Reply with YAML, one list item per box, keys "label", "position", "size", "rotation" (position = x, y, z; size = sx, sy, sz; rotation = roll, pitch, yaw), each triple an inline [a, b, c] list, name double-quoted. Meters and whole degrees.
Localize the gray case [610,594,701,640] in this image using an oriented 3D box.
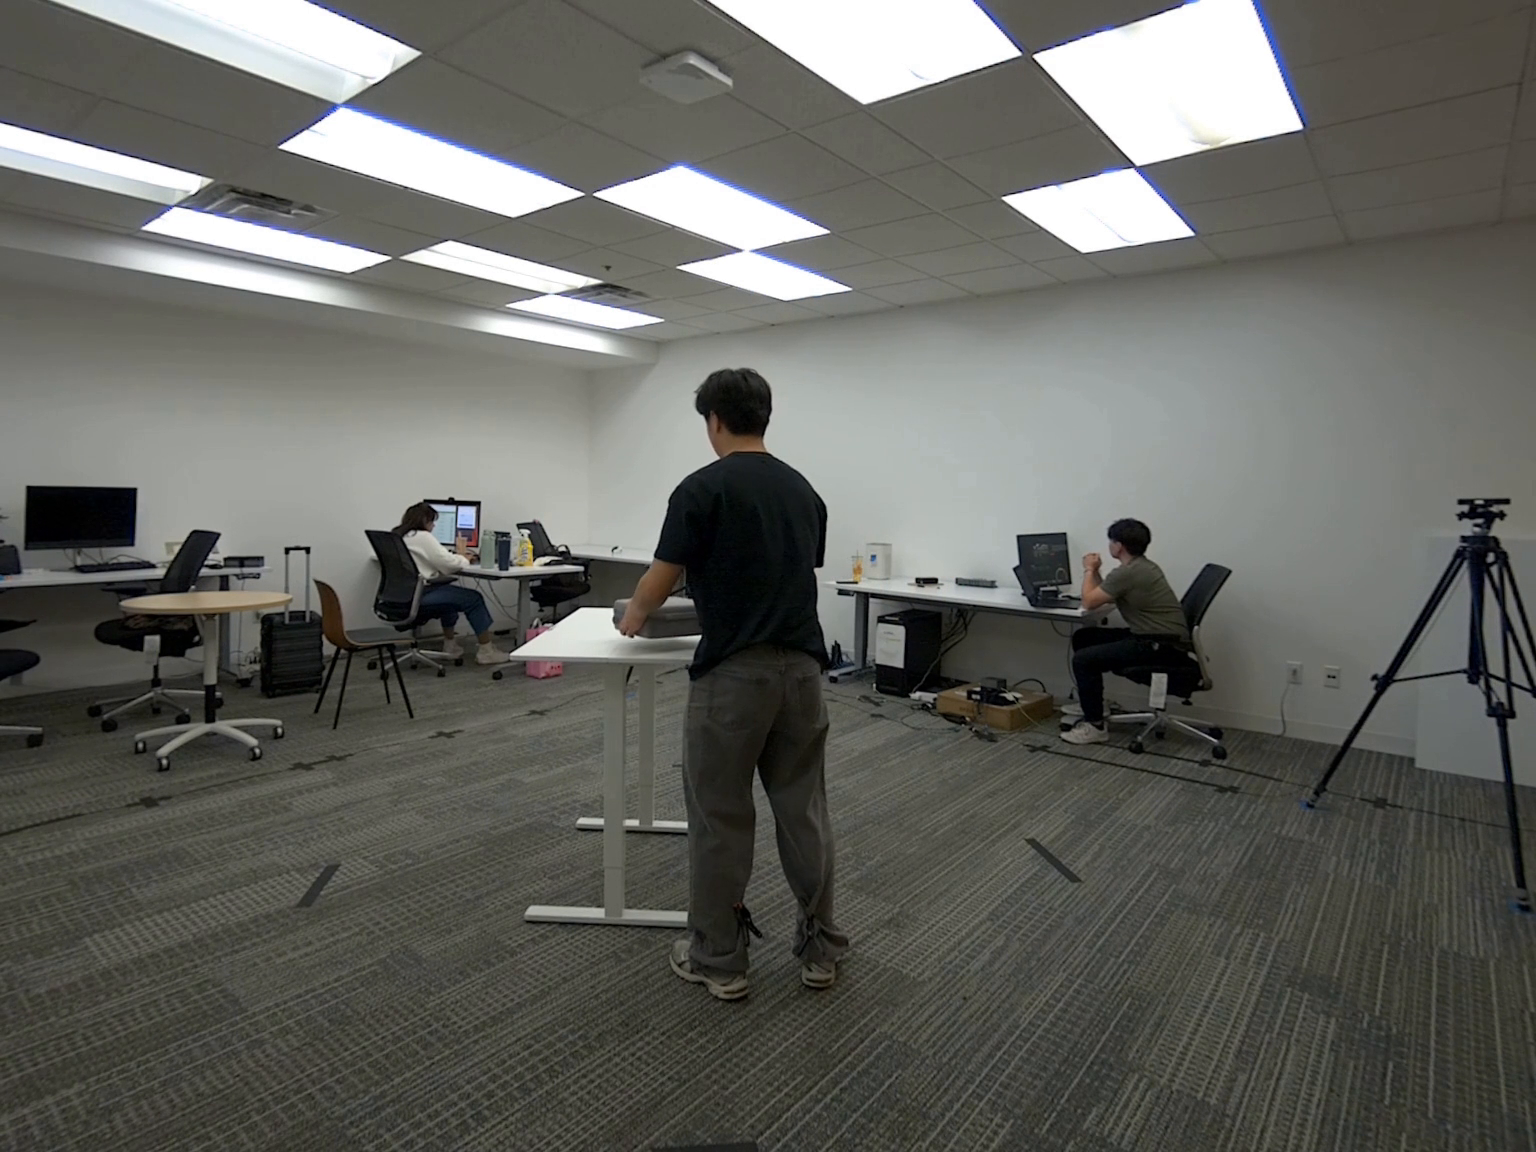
- label: "gray case"
  position: [-0.330, 0.127, 2.750]
  size: [0.279, 0.103, 0.271]
  rotation: [-1, 5, -34]
